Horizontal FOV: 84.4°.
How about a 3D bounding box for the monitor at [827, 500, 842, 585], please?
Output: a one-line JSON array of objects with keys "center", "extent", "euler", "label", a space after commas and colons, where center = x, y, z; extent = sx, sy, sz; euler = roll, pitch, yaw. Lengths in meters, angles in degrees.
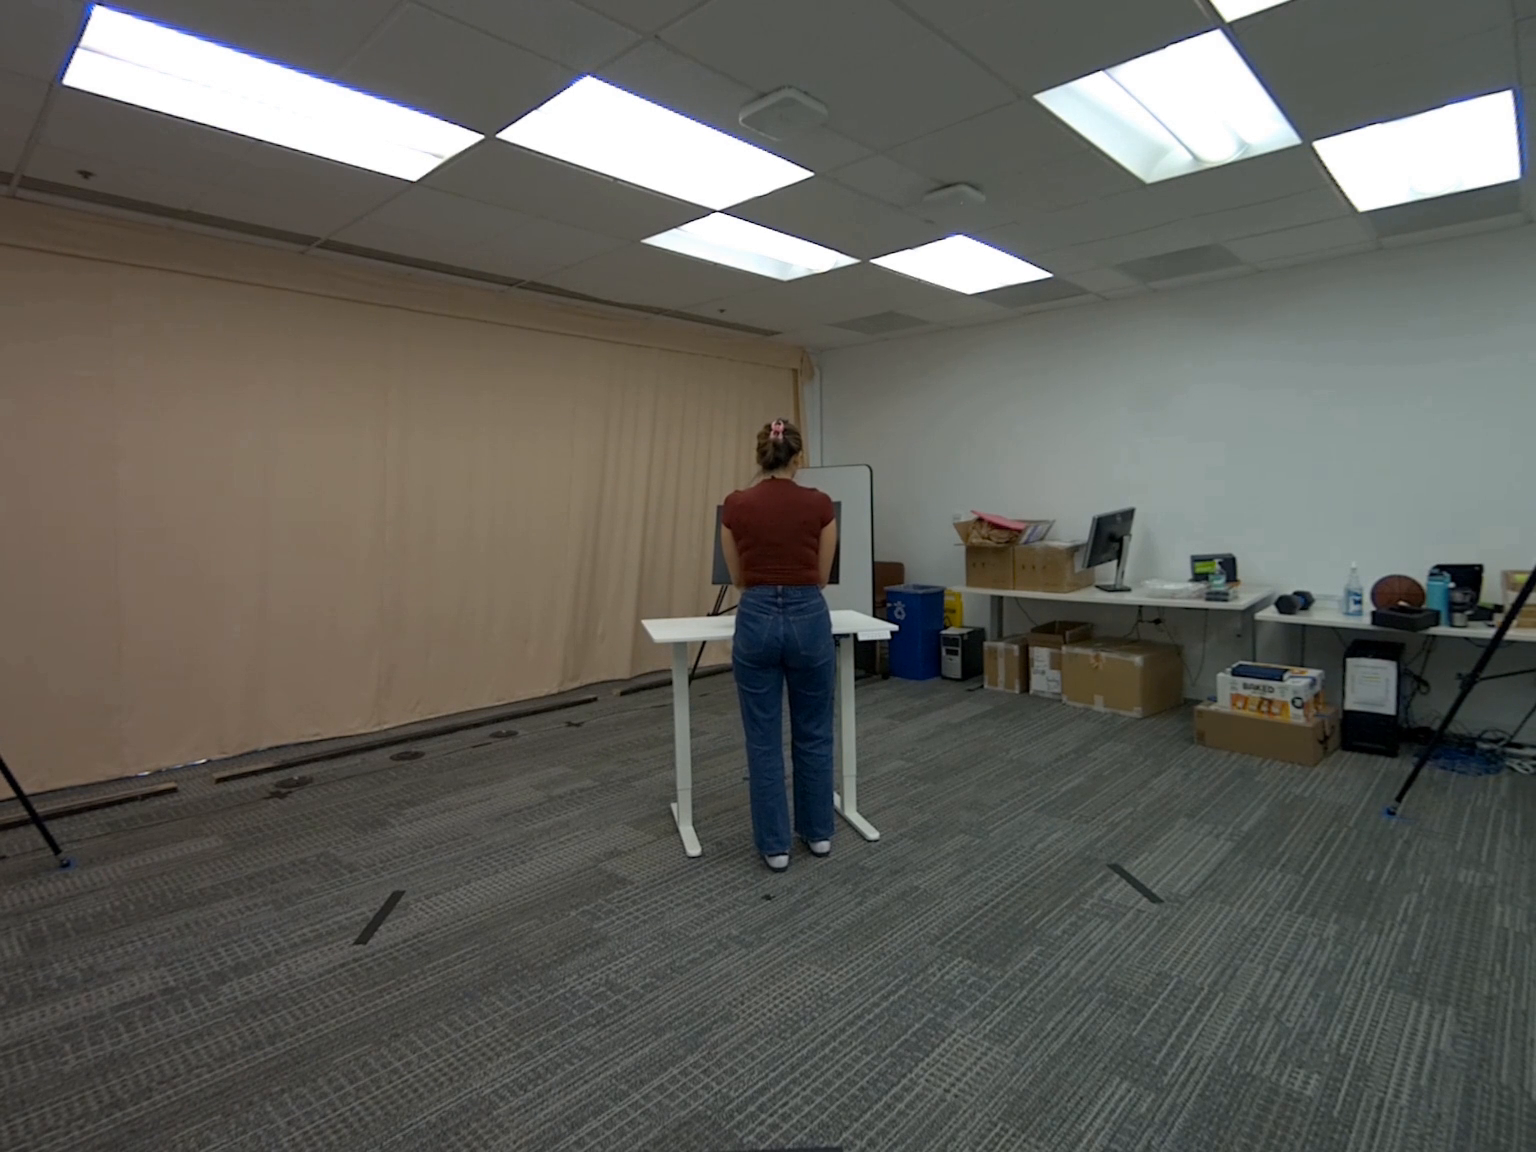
[{"center": [0.053, -0.044, 3.531], "extent": [0.547, 0.522, 0.184], "euler": [0, 0, 14], "label": "monitor"}]
